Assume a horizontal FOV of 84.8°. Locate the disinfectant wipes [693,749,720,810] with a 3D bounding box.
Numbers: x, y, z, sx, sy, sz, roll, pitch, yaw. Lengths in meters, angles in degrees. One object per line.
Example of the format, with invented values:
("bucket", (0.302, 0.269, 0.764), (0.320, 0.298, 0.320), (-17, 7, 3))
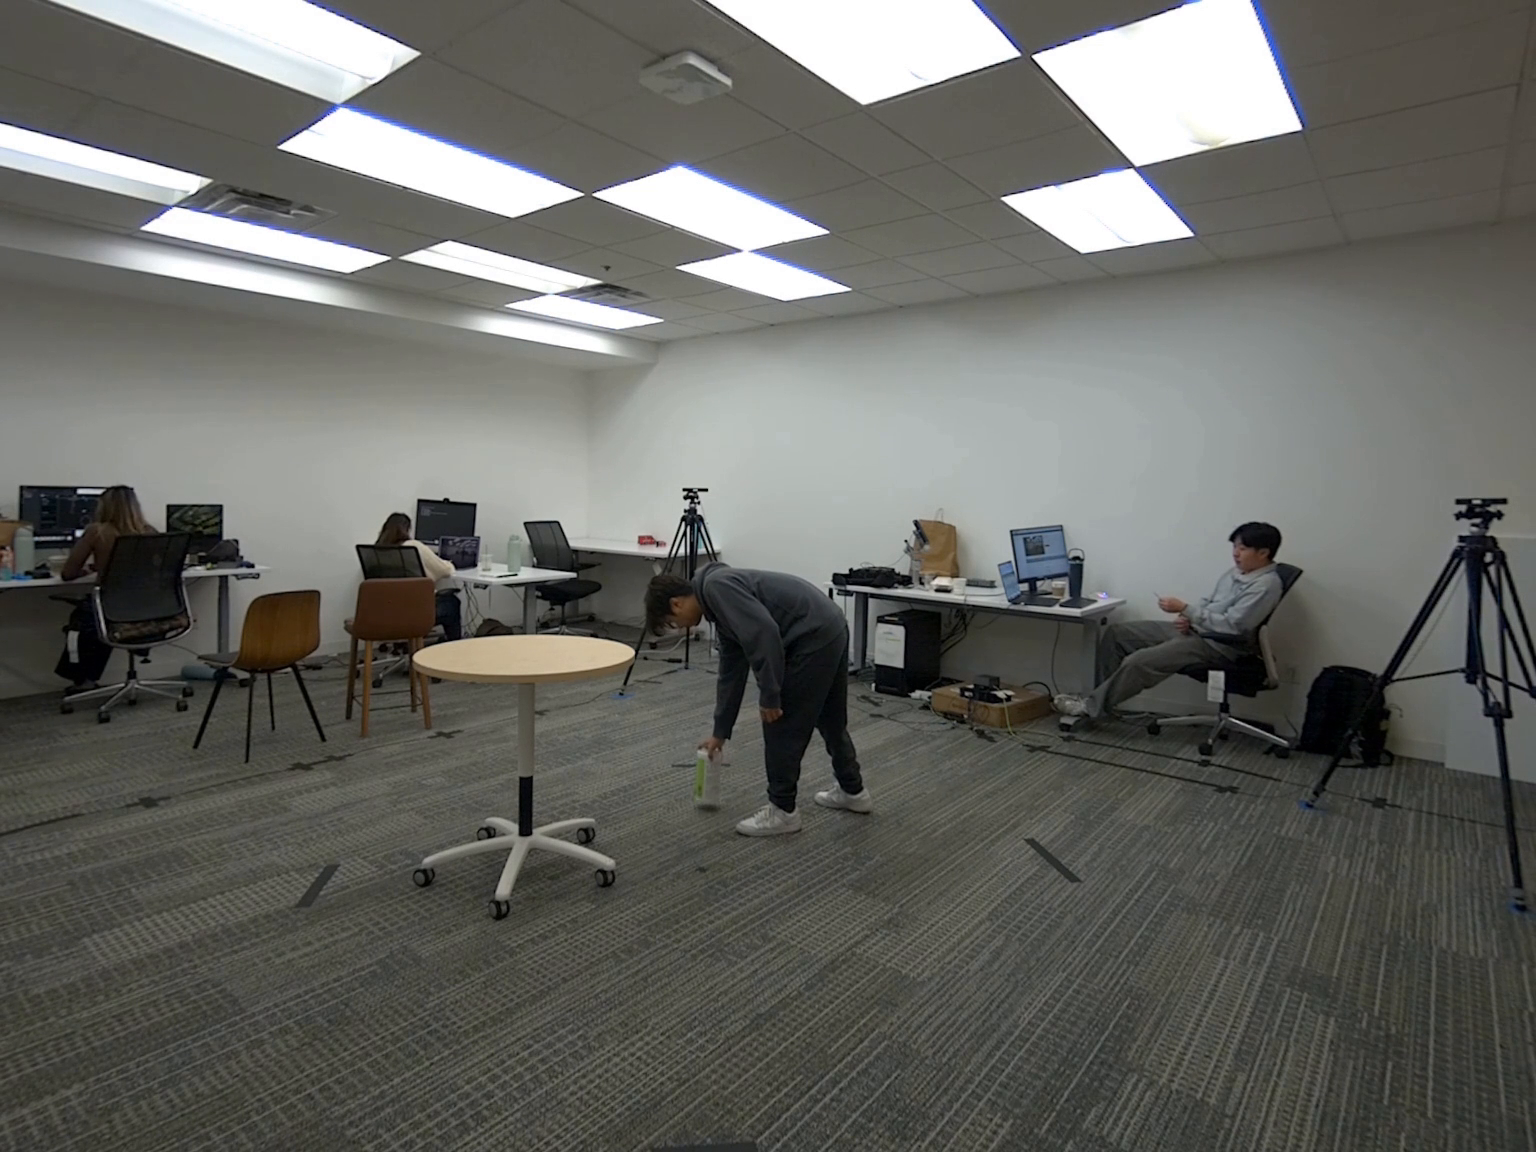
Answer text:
("disinfectant wipes", (-0.269, 0.875, 3.737), (0.118, 0.218, 0.117), (2, -2, -2))
